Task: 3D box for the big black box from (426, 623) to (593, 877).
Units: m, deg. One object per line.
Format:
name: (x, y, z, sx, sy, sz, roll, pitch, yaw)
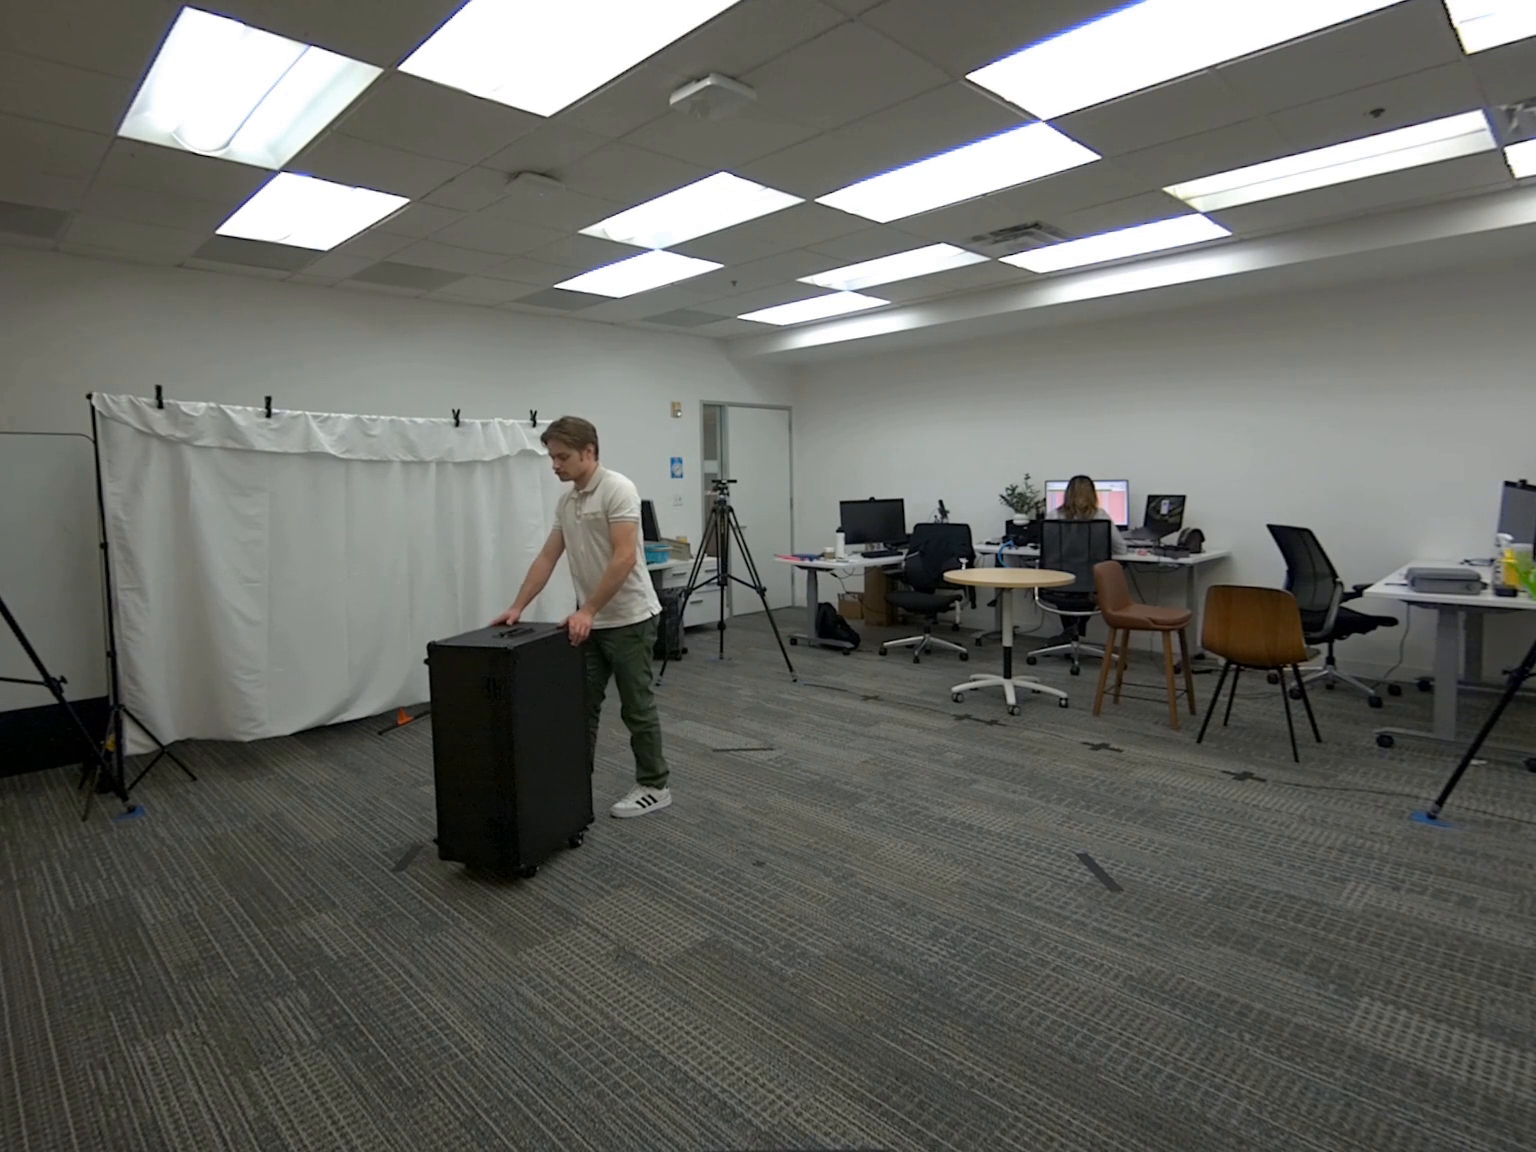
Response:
big black box: (-0.946, 0.637, 3.170, 0.393, 0.866, 0.515, 0, 4, 20)
